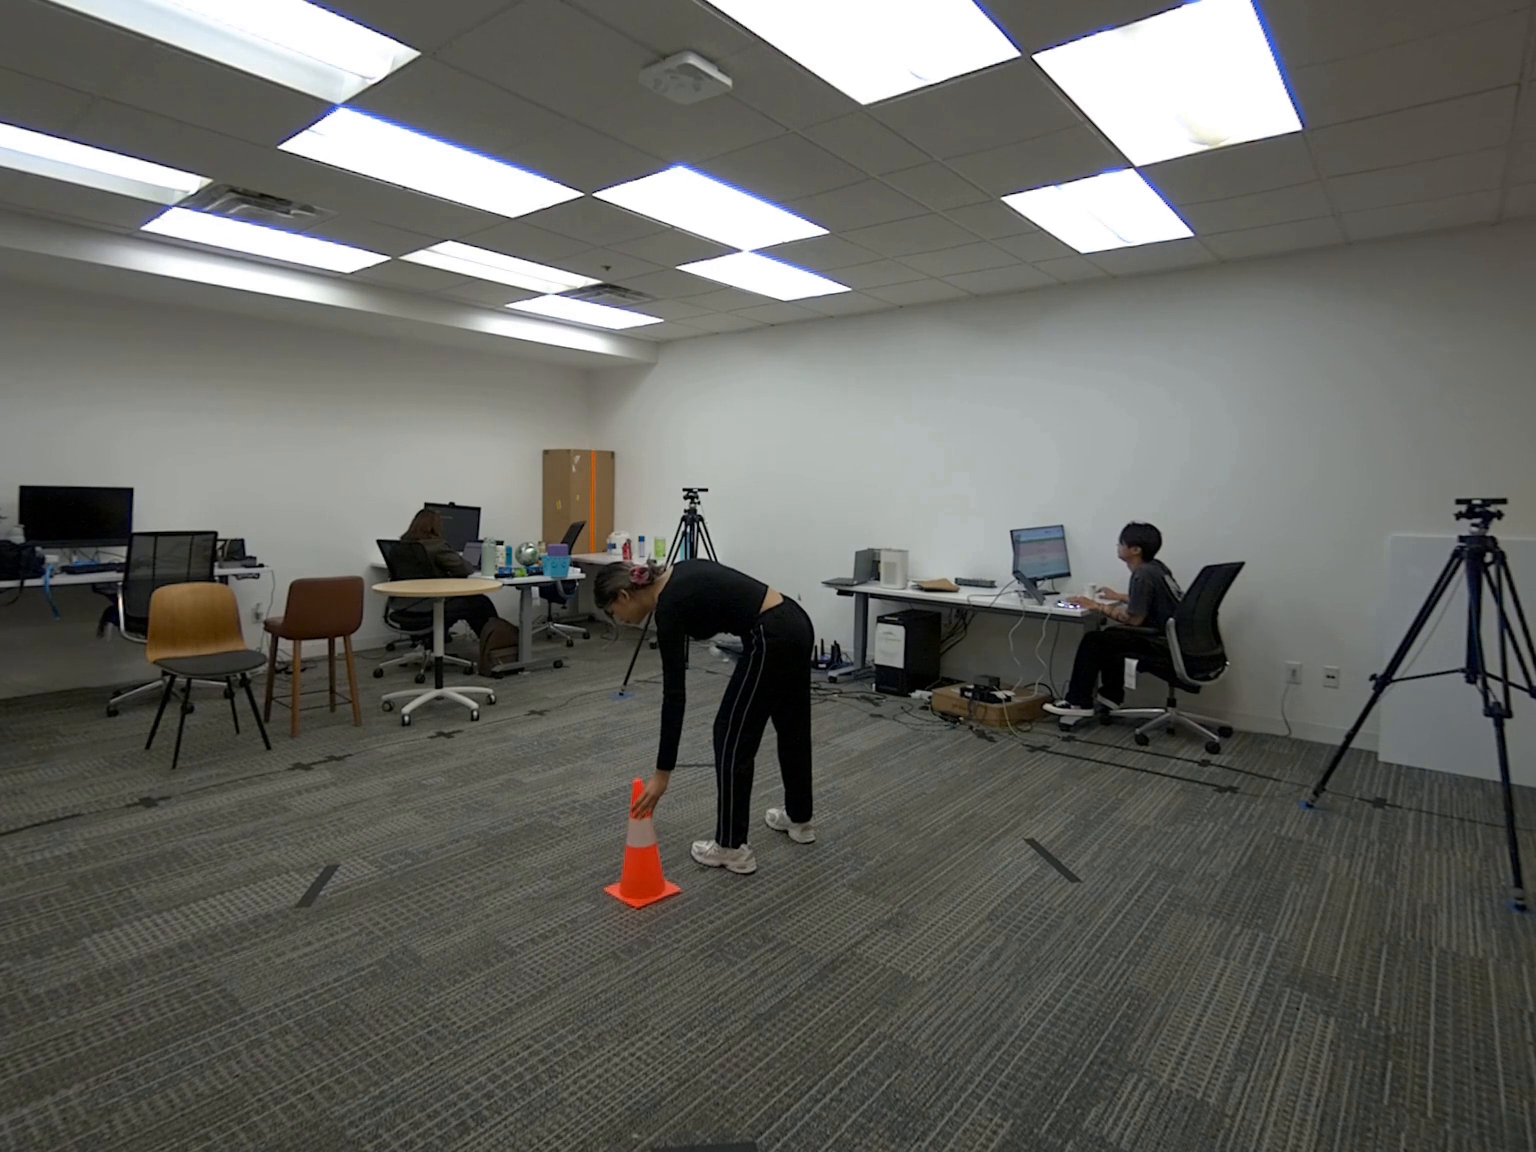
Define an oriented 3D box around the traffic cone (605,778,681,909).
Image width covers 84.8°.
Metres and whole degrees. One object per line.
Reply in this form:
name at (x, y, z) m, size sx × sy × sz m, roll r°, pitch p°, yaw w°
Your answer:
traffic cone at (-0.448, 0.893, 2.928) m, size 0.197 × 0.383 × 0.211 m, roll -2°, pitch 2°, yaw -41°
